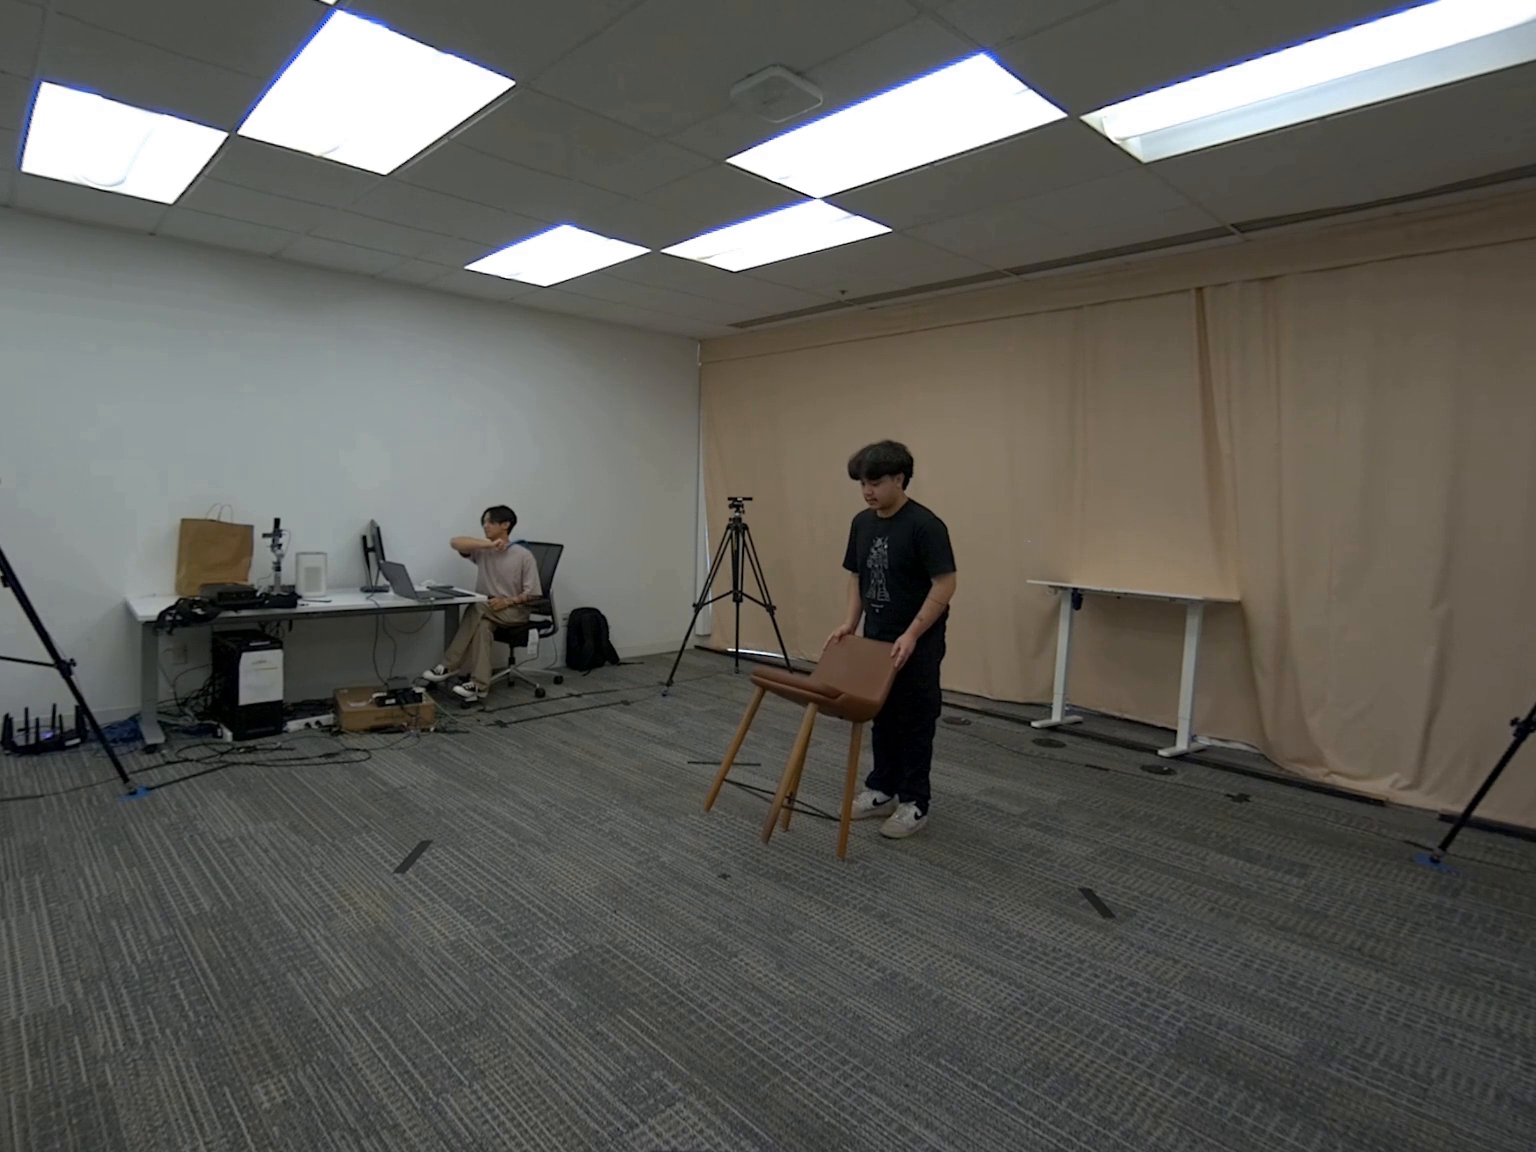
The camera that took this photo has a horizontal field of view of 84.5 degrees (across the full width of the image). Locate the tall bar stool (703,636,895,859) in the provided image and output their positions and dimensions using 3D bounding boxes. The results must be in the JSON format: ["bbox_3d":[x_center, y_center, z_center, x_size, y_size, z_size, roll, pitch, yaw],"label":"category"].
[{"bbox_3d":[0.151,0.609,3.371,0.454,0.894,0.467,26,-12,-34],"label":"tall bar stool"}]
